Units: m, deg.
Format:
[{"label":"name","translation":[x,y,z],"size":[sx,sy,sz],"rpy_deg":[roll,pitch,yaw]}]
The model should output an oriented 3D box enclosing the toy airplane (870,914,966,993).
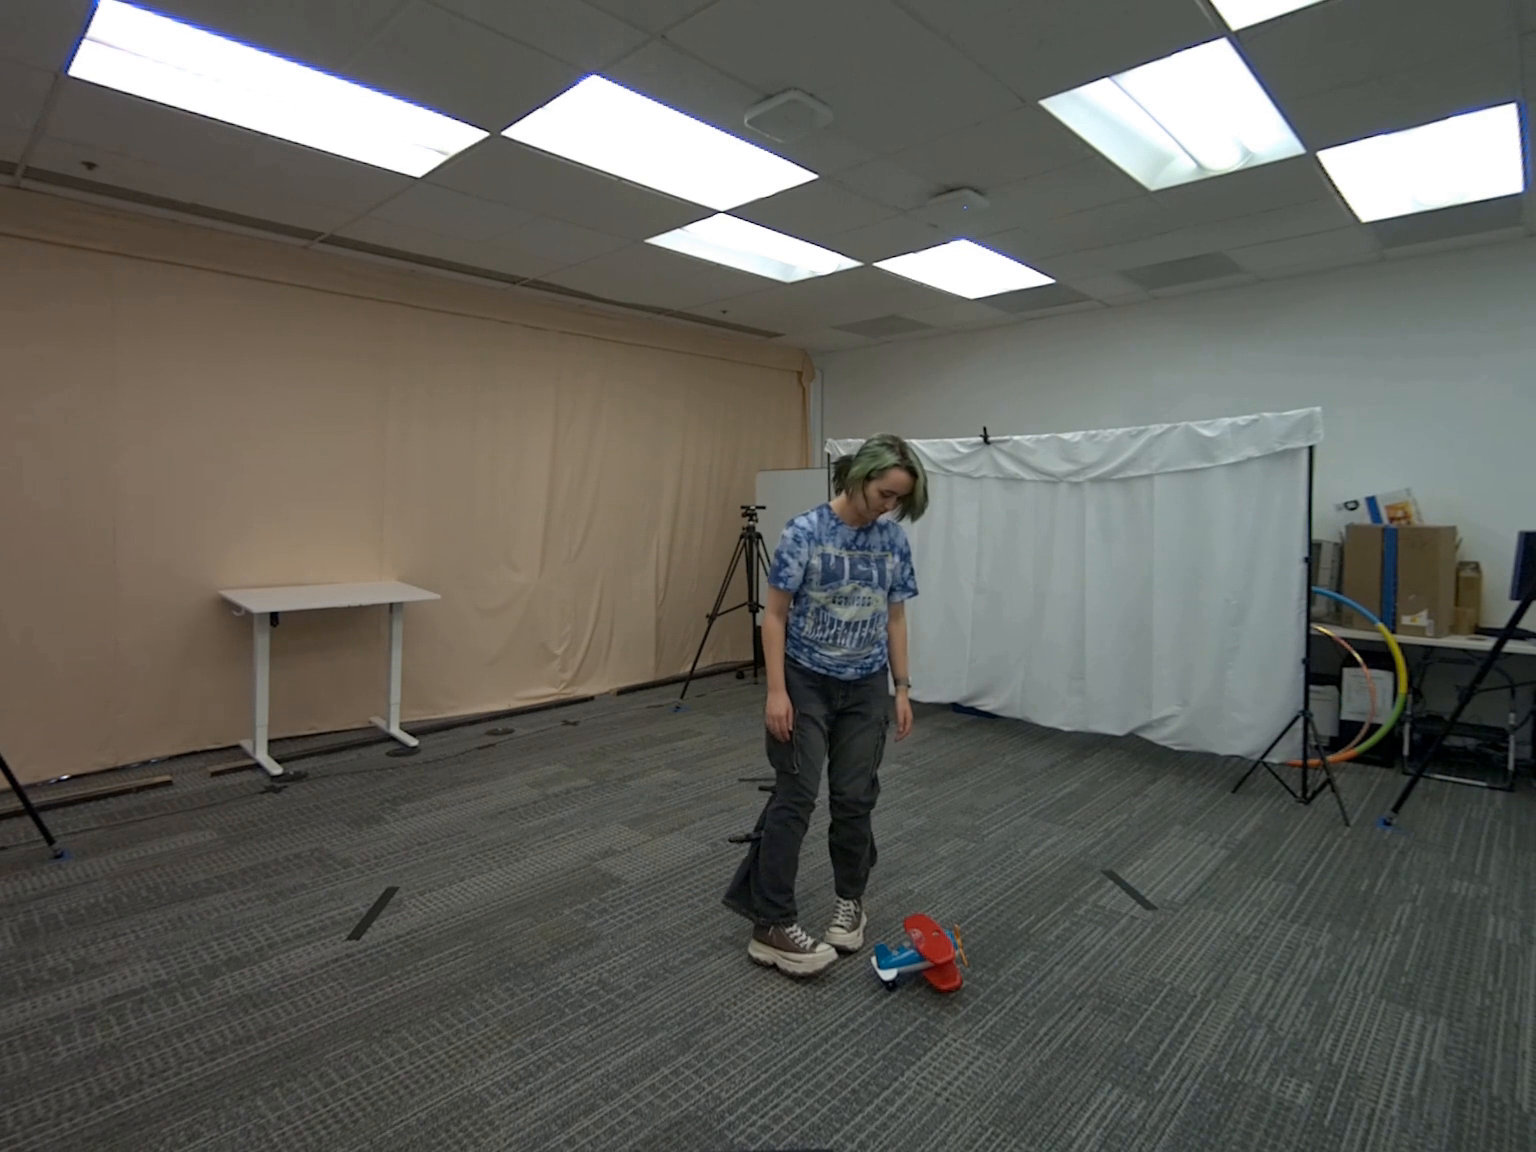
[{"label":"toy airplane","translation":[0.451,1.118,2.426],"size":[0.251,0.156,0.259],"rpy_deg":[-3,5,-37]}]
